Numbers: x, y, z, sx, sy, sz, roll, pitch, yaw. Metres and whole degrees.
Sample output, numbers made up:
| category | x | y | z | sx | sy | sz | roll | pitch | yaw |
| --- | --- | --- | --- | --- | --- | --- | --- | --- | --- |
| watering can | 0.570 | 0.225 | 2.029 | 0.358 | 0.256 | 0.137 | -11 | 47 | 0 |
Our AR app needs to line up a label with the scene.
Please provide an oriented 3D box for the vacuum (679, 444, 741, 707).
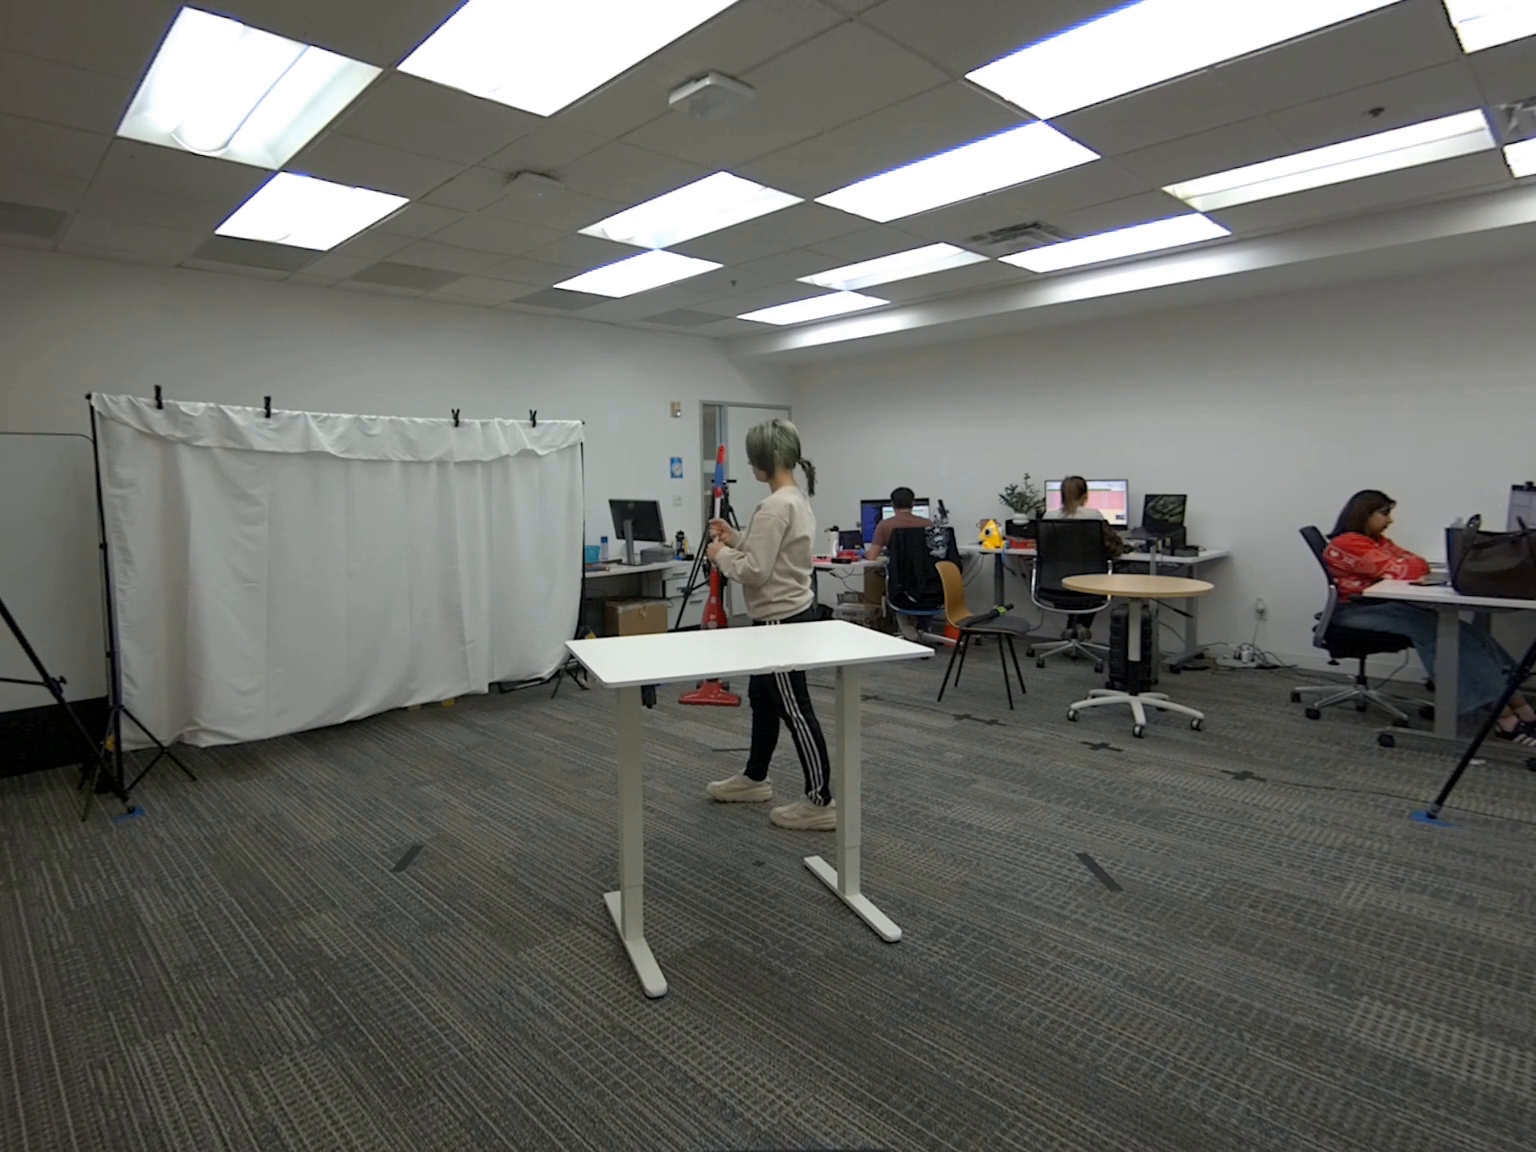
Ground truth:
| category | x | y | z | sx | sy | sz | roll | pitch | yaw |
| --- | --- | --- | --- | --- | --- | --- | --- | --- | --- |
| vacuum | -0.212 | -0.031 | 3.579 | 0.255 | 1.059 | 0.141 | 1 | -11 | 9 |
